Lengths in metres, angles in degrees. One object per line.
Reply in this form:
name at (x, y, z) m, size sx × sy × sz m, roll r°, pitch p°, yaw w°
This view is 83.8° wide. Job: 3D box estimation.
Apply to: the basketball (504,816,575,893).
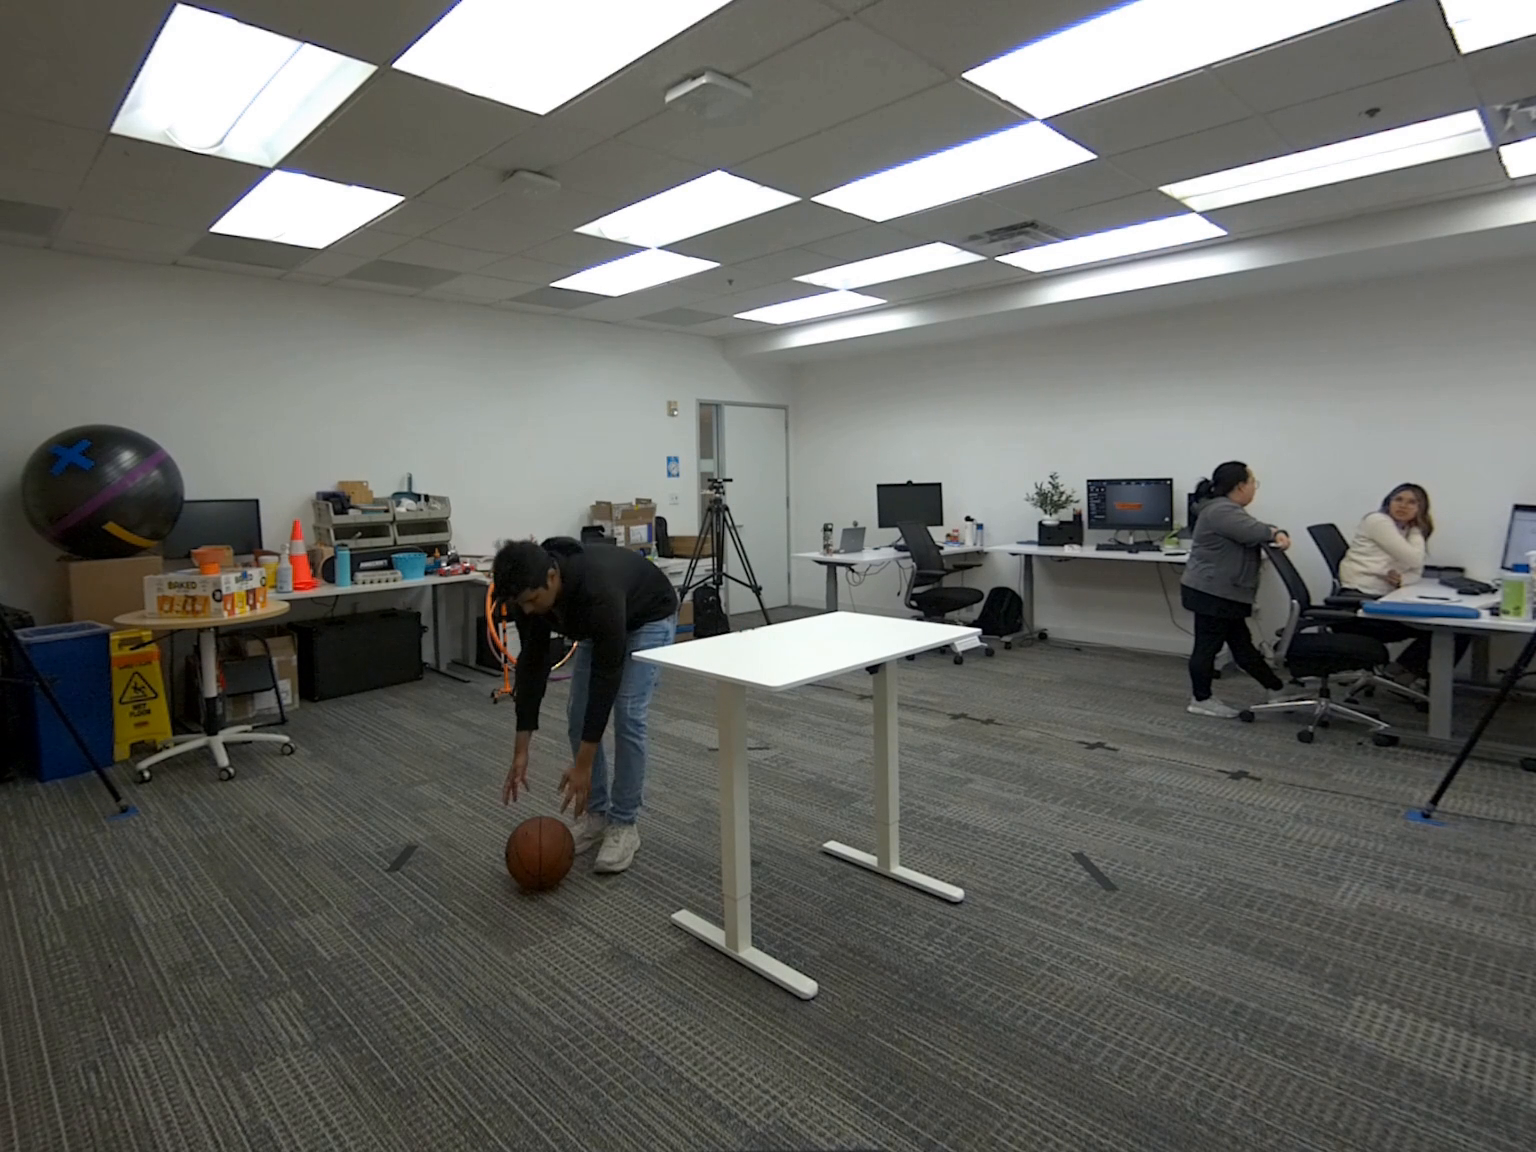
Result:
basketball at (-0.788, 0.952, 2.954) m, size 0.236 × 0.235 × 0.237 m, roll -1°, pitch 5°, yaw -2°
